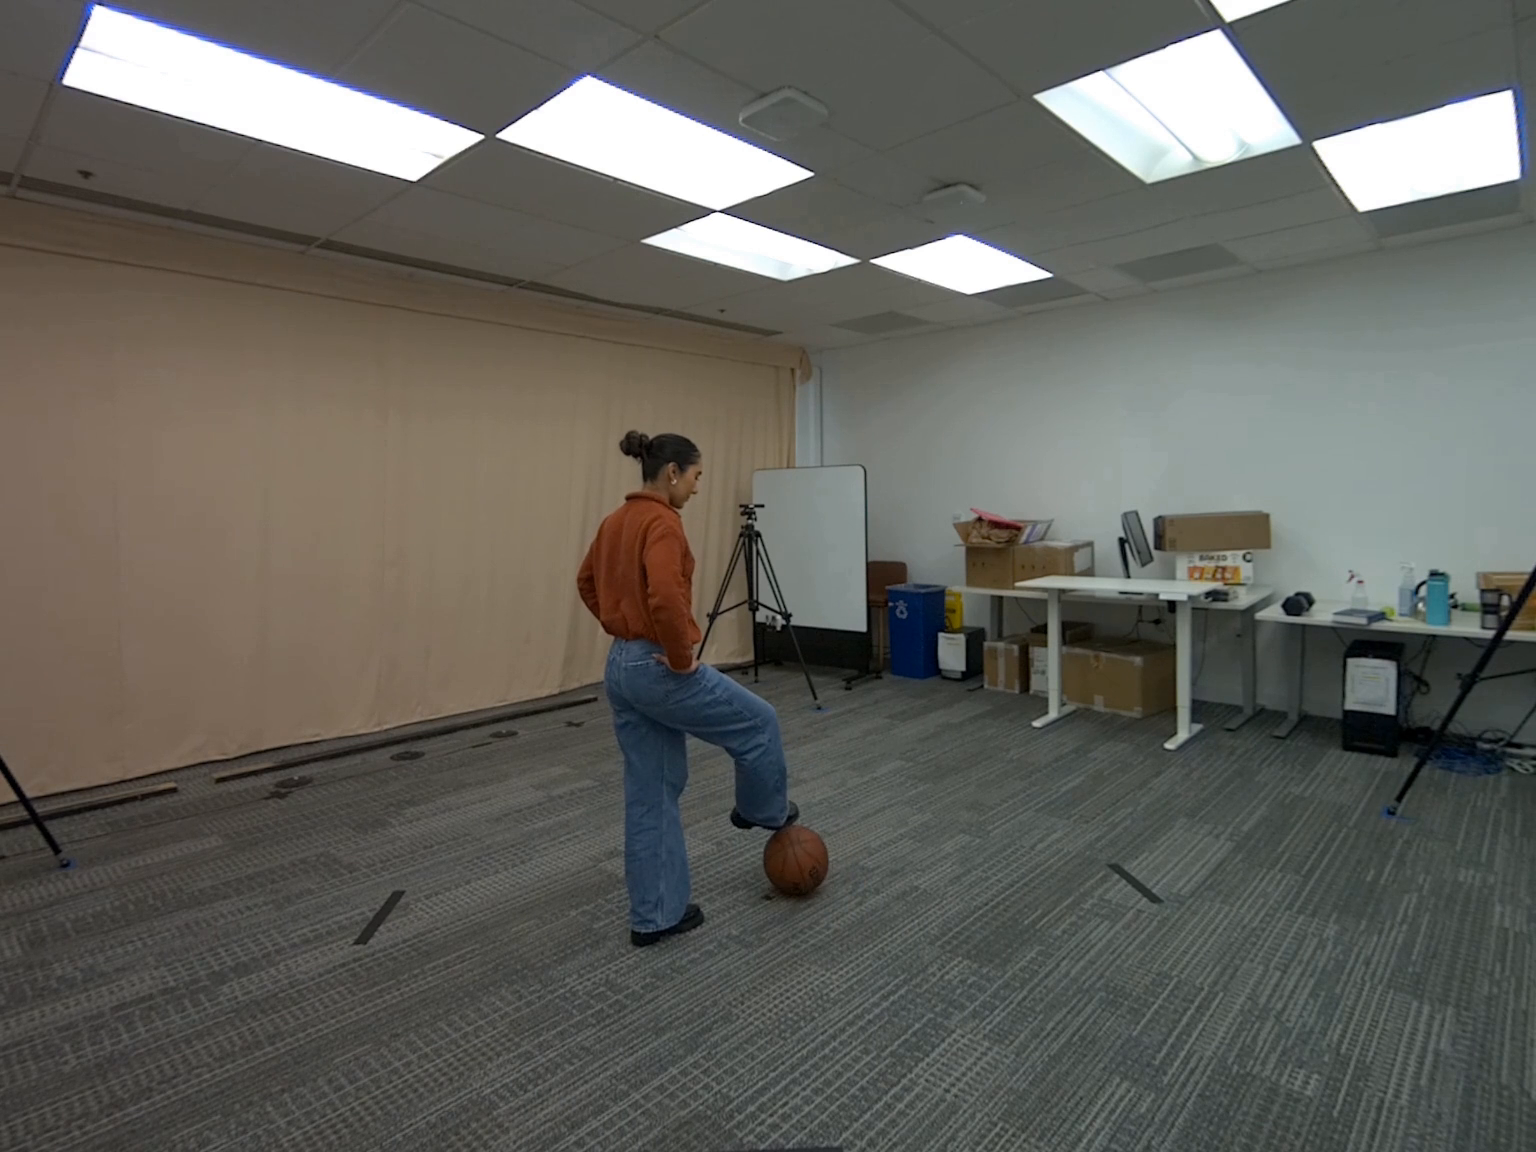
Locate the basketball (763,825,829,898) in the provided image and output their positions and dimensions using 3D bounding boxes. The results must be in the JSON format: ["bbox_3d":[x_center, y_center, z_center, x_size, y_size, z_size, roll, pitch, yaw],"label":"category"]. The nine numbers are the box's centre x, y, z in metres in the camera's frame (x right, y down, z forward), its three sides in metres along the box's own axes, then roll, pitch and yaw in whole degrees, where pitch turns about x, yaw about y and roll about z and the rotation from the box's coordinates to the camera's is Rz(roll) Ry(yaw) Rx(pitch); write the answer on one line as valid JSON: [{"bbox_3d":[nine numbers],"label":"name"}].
[{"bbox_3d":[0.101,1.019,3.006,0.236,0.235,0.237,-1,4,-2],"label":"basketball"}]
